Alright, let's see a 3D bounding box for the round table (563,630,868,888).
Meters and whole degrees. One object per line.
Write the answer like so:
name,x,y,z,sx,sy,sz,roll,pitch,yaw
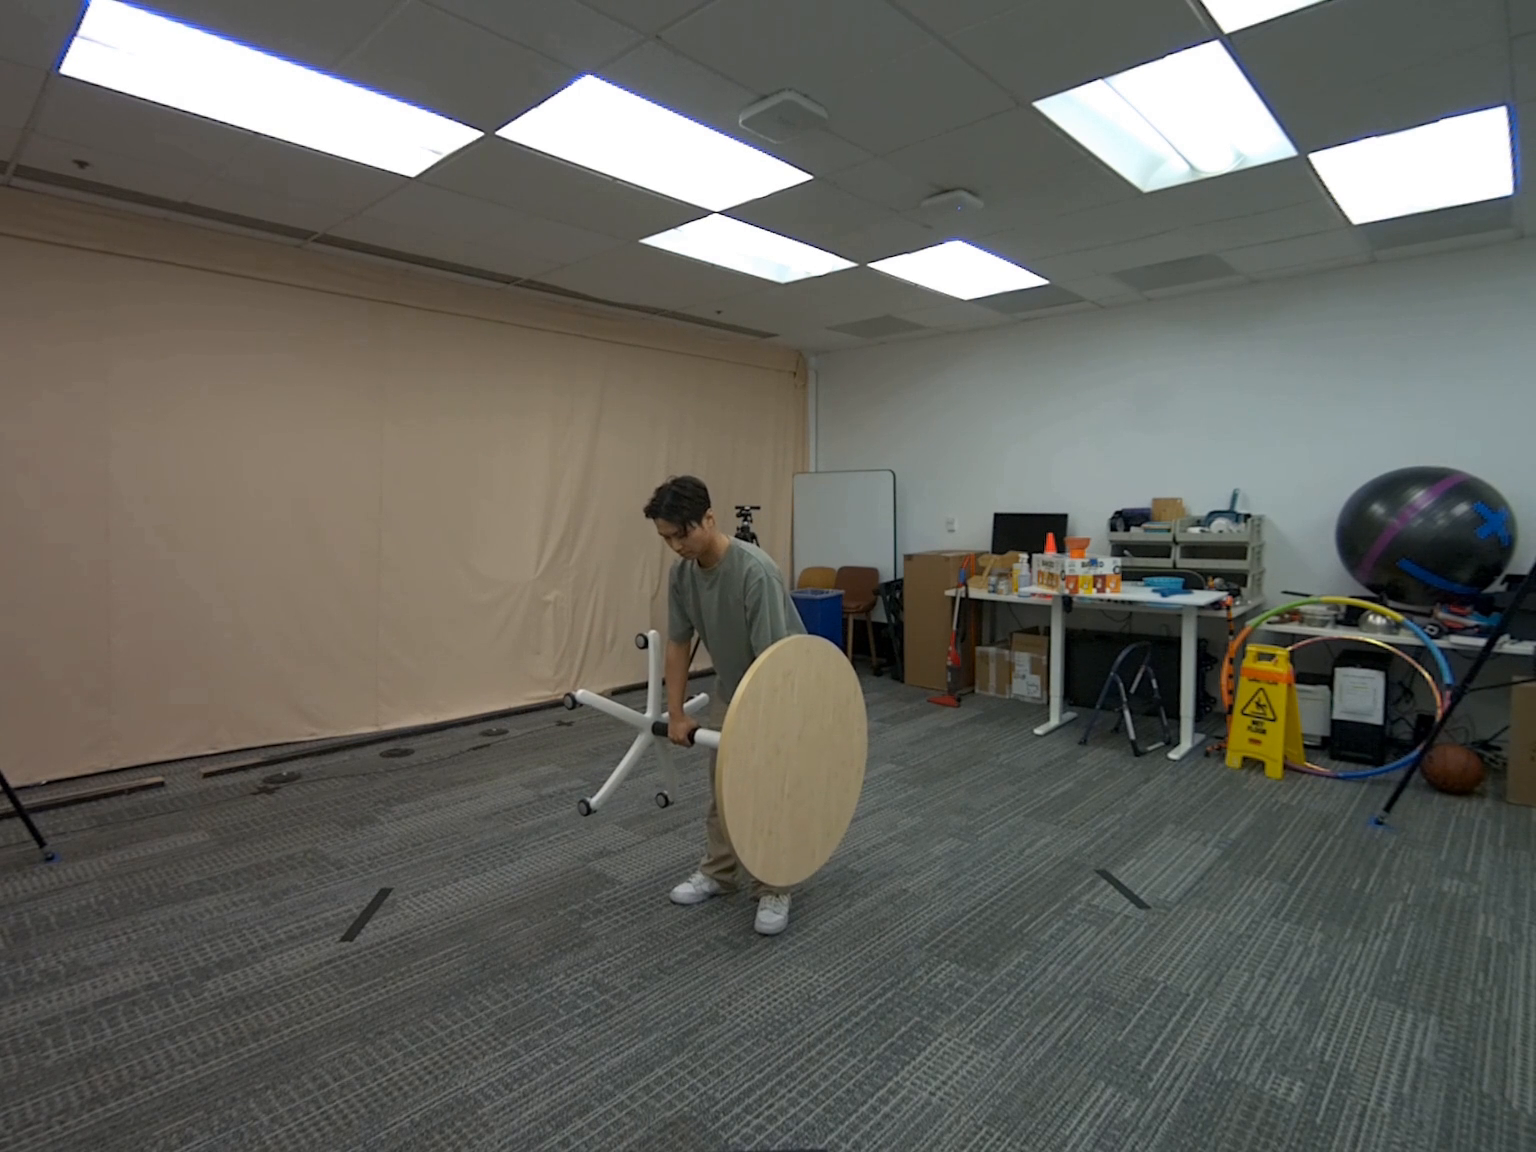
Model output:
round table,-0.206,0.565,2.885,0.811,0.784,0.761,0,3,39
